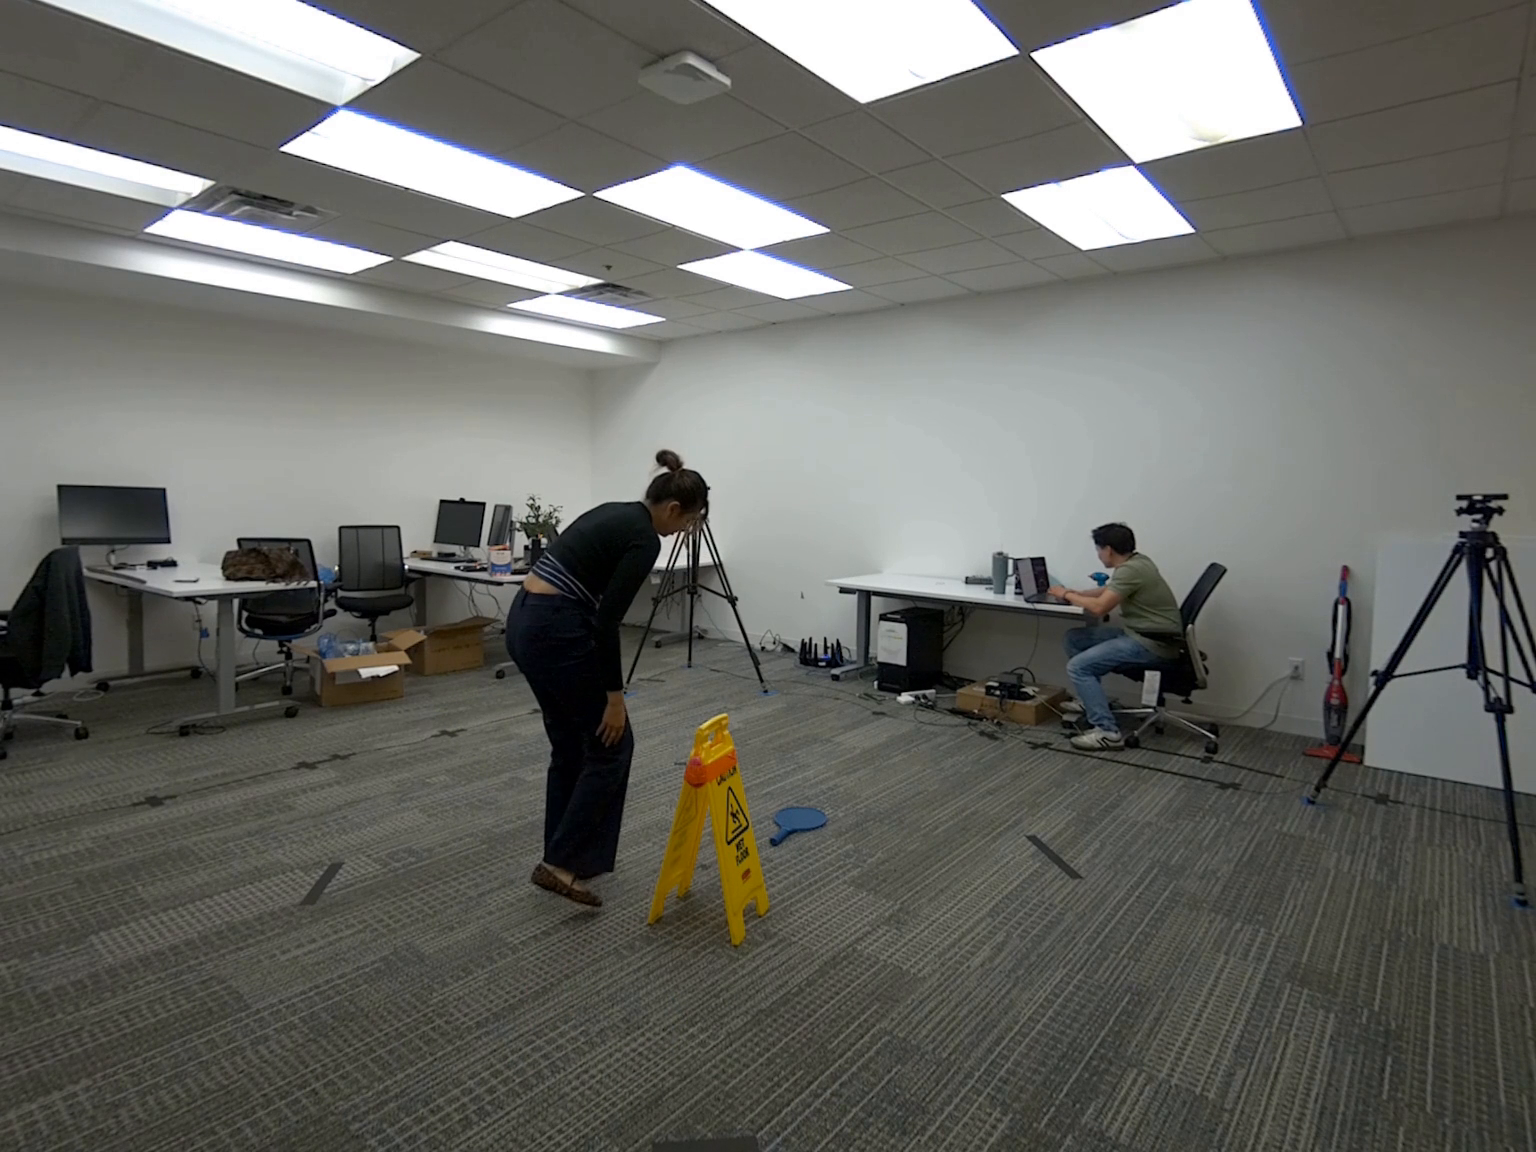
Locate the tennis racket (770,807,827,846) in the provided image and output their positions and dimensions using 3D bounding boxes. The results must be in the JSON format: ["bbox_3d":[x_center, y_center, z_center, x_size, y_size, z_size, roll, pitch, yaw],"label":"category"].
[{"bbox_3d":[0.098,1.017,3.503,0.219,0.031,0.424,3,5,22],"label":"tennis racket"}]
